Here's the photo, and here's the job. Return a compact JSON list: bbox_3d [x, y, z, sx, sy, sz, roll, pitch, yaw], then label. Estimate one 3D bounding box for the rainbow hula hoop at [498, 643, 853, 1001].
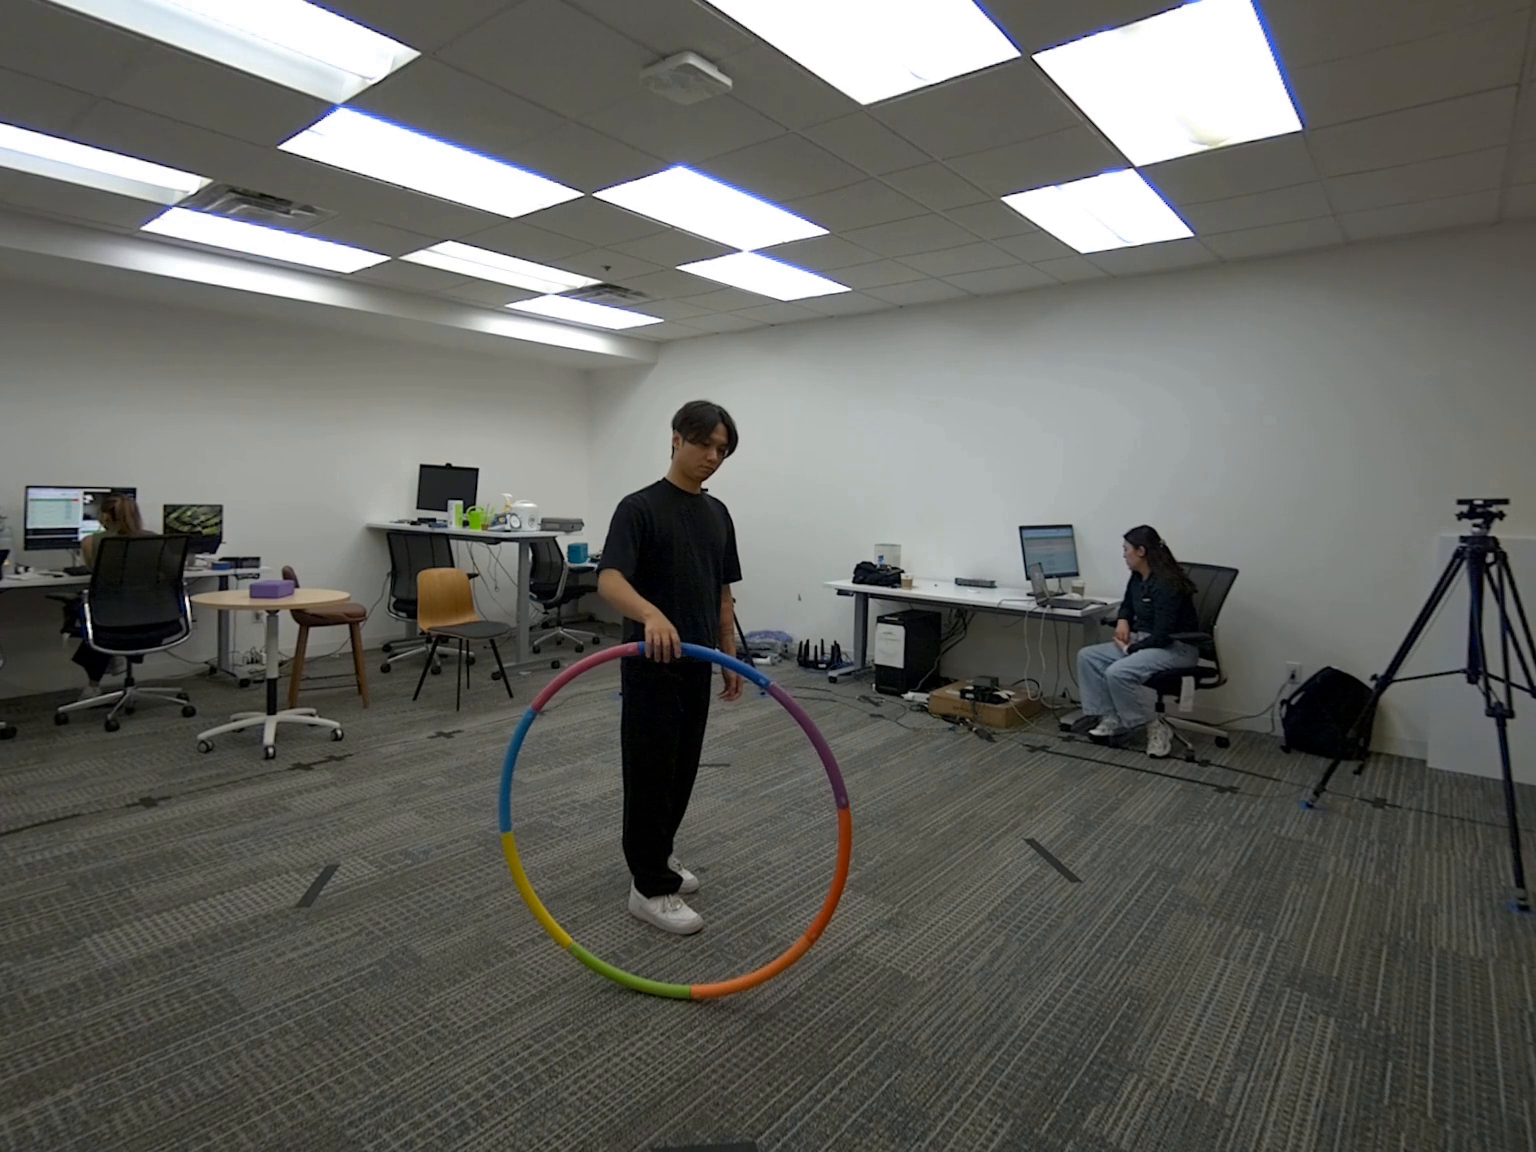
[{"bbox_3d":[-0.284,0.659,2.325,0.991,0.977,0.035,2,2,12],"label":"rainbow hula hoop"}]
